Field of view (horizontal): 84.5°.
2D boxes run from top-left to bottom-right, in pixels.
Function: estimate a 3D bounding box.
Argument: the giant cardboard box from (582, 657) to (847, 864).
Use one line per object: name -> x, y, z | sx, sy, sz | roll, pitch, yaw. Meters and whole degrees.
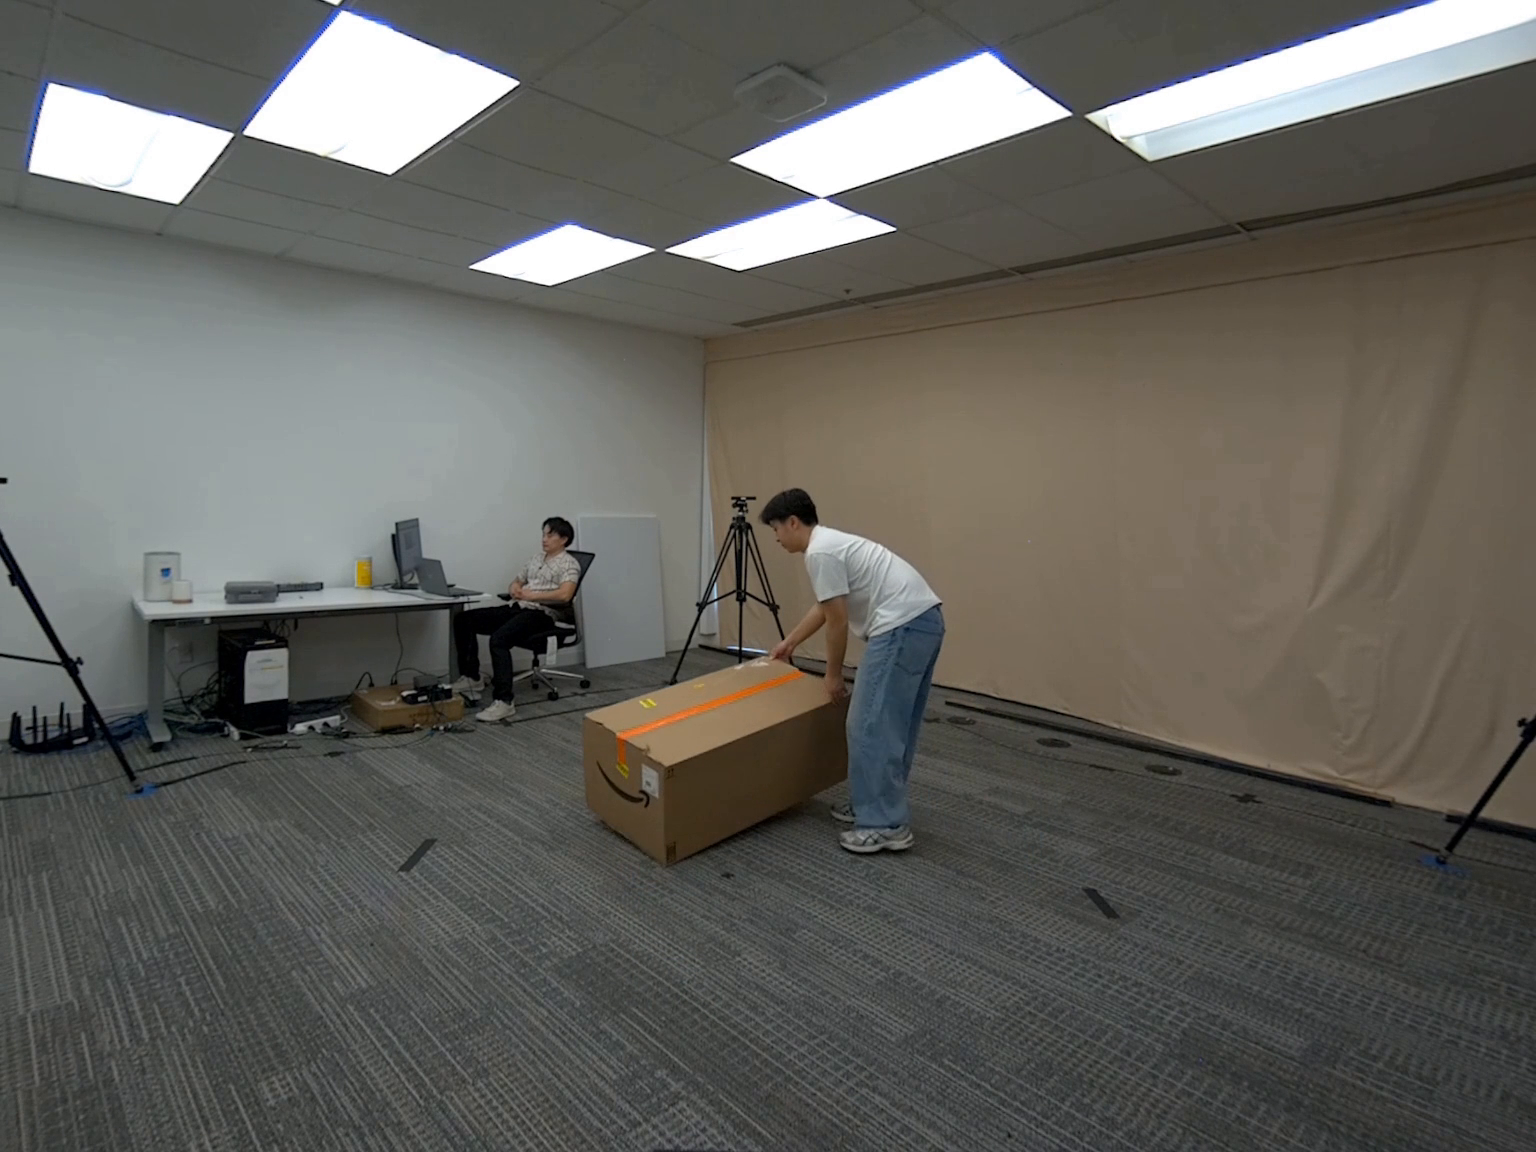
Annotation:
giant cardboard box -> -0.206, 0.745, 3.631 | 1.007, 0.422, 0.594 | -13, 19, -40
